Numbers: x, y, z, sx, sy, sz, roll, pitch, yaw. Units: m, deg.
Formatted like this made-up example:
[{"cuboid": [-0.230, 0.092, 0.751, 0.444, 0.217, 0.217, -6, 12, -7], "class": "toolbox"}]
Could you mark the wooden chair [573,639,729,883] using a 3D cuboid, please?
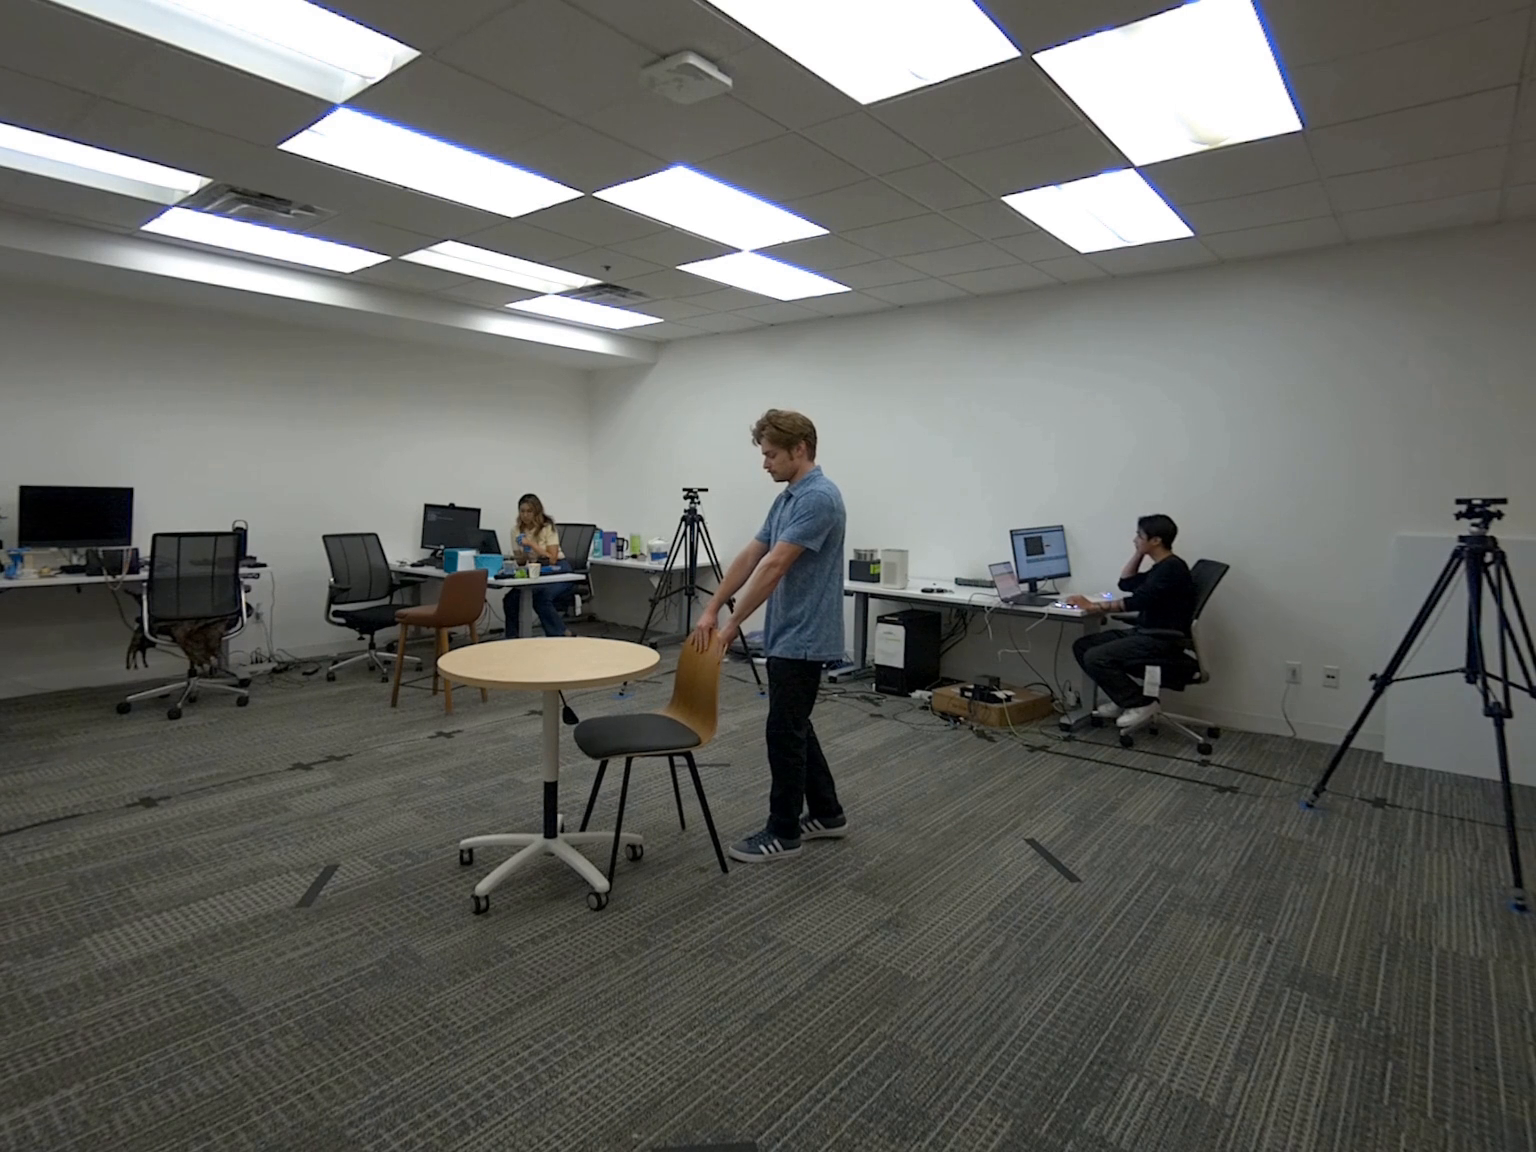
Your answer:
[{"cuboid": [-0.454, 0.630, 3.167, 0.510, 0.876, 0.491, 4, 2, -25], "class": "wooden chair"}]
